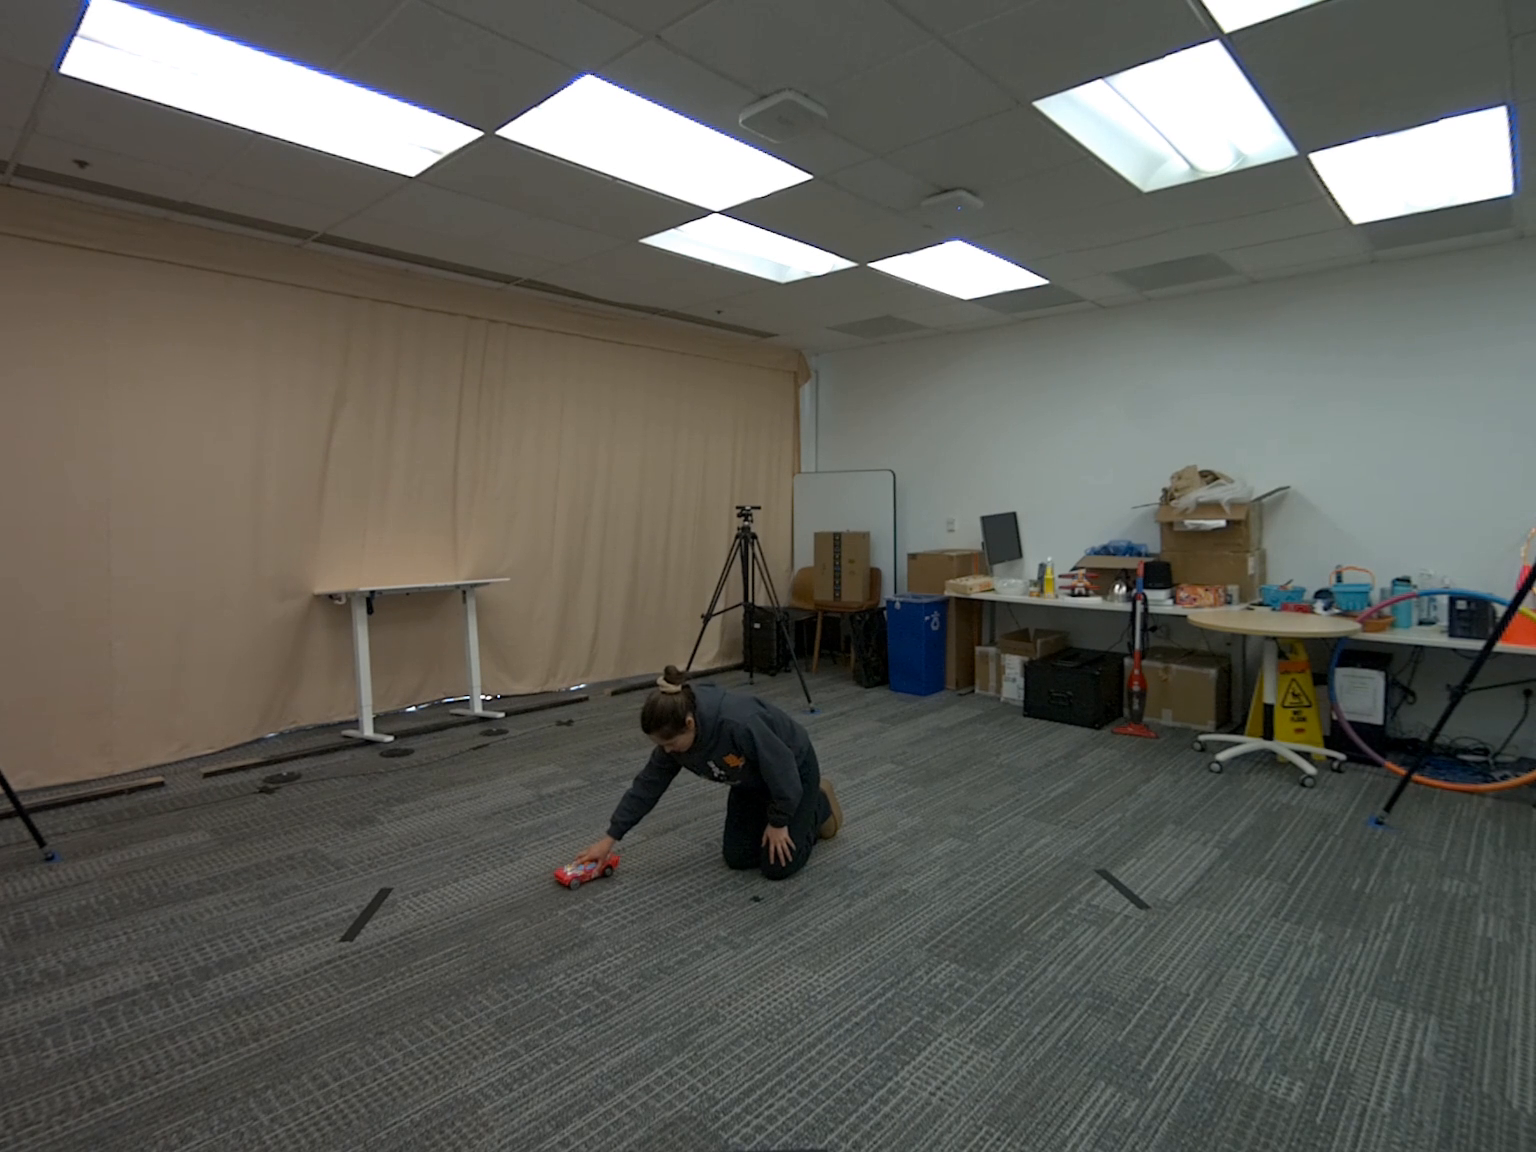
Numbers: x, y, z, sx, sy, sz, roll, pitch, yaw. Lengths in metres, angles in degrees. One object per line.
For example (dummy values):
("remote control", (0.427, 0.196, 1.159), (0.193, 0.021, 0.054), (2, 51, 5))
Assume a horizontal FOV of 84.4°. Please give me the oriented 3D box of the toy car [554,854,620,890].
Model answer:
("toy car", (-0.655, 1.110, 3.179), (0.248, 0.082, 0.134), (-18, 14, -39))
